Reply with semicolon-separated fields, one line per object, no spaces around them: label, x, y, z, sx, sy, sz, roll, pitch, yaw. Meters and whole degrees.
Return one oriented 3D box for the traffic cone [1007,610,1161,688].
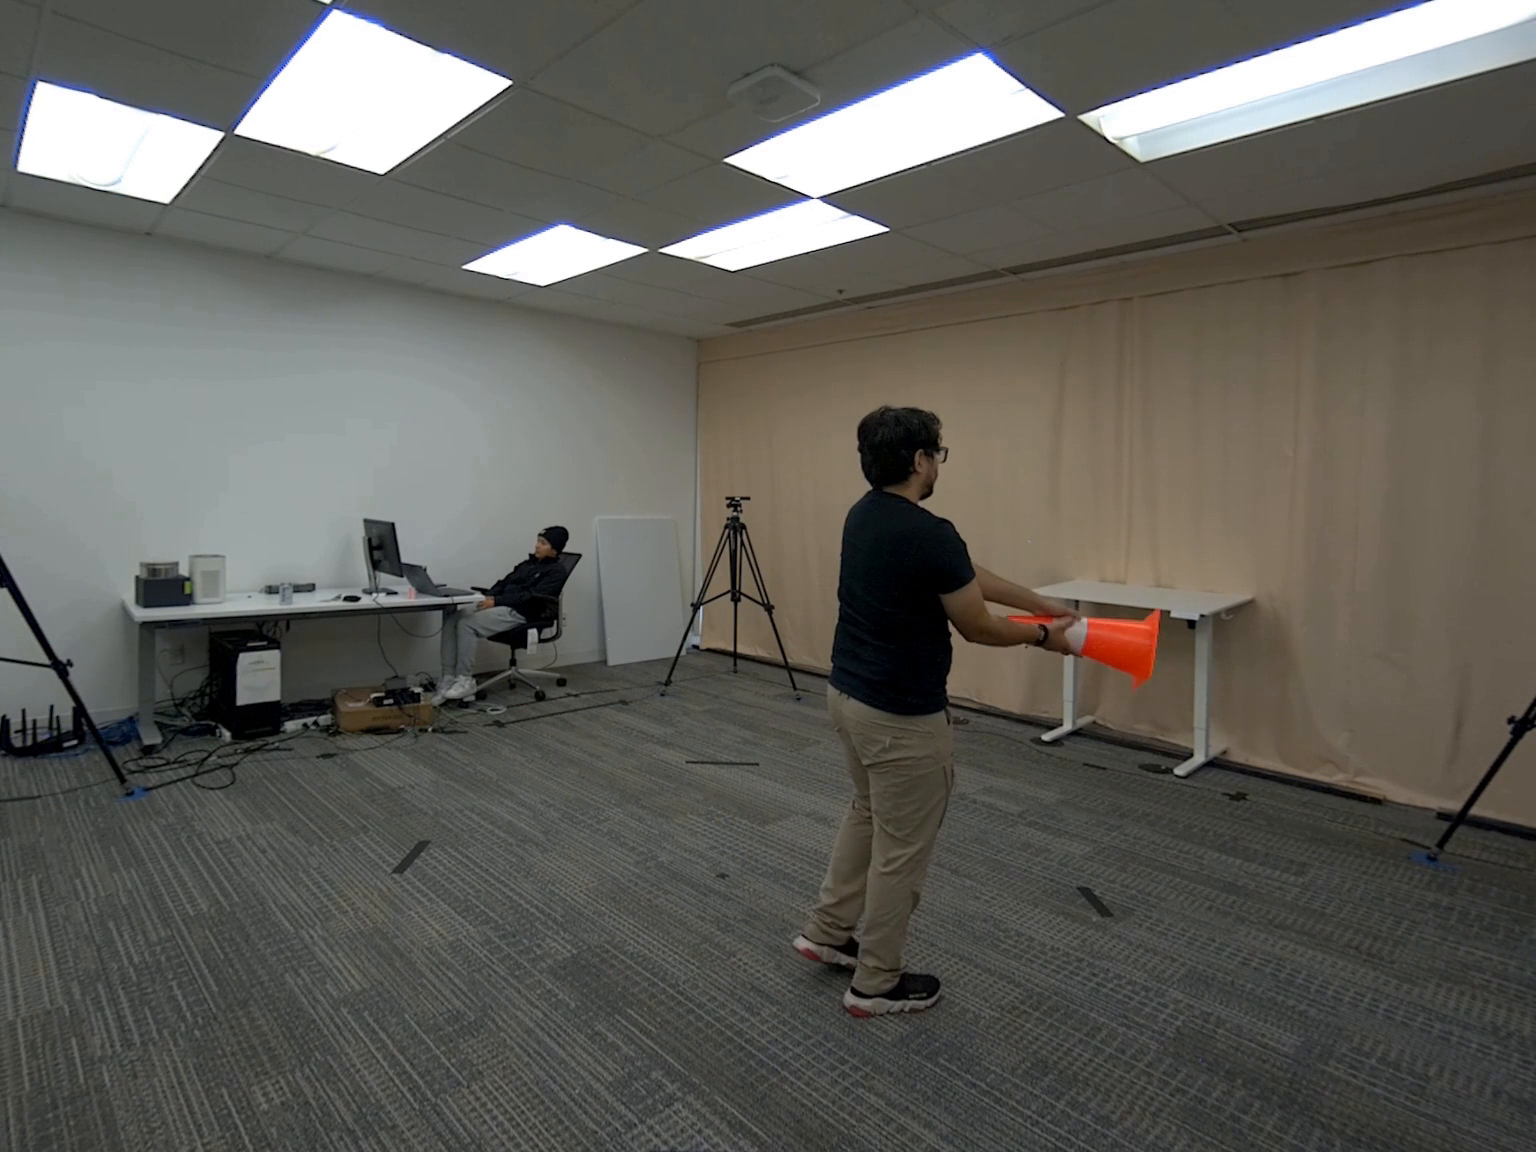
traffic cone;0.853;0.171;2.378;0.388;0.205;0.201;11;-17;13
